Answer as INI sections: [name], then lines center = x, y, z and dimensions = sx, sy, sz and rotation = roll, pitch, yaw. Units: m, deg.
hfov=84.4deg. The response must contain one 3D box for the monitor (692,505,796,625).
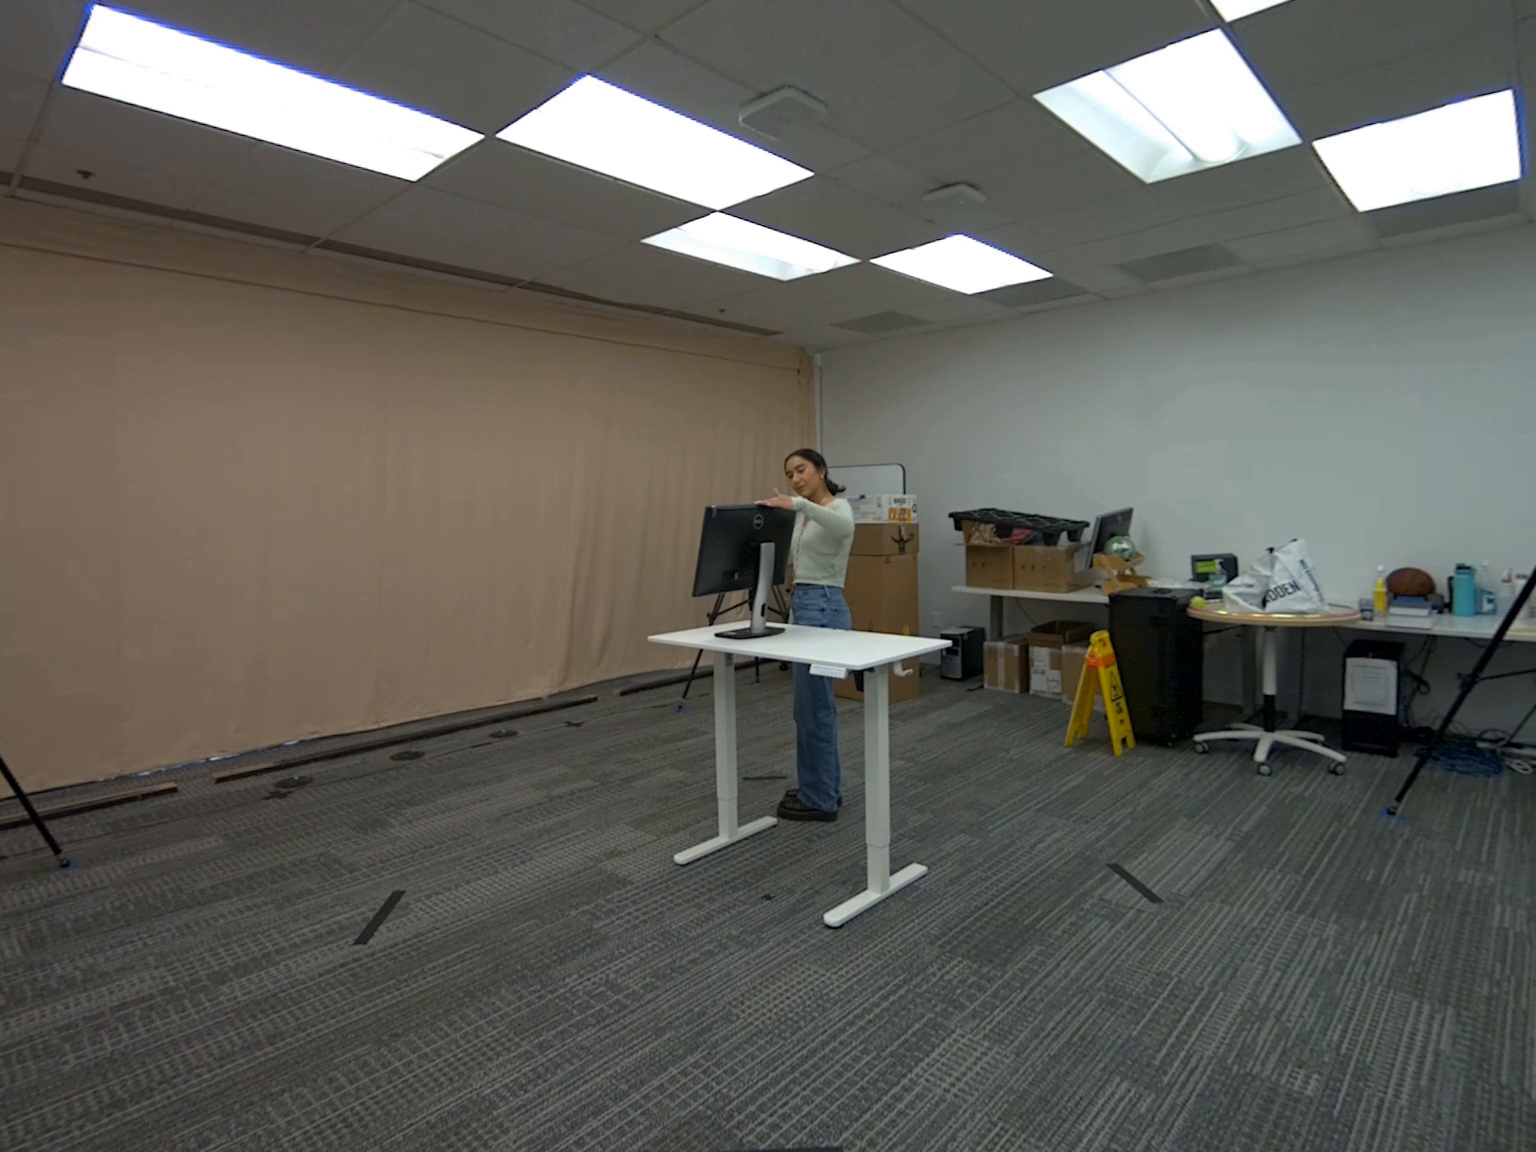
[monitor]
center = -0.056, -0.020, 3.305
dimensions = 0.193, 0.521, 0.523
rotation = 5, 7, 40
